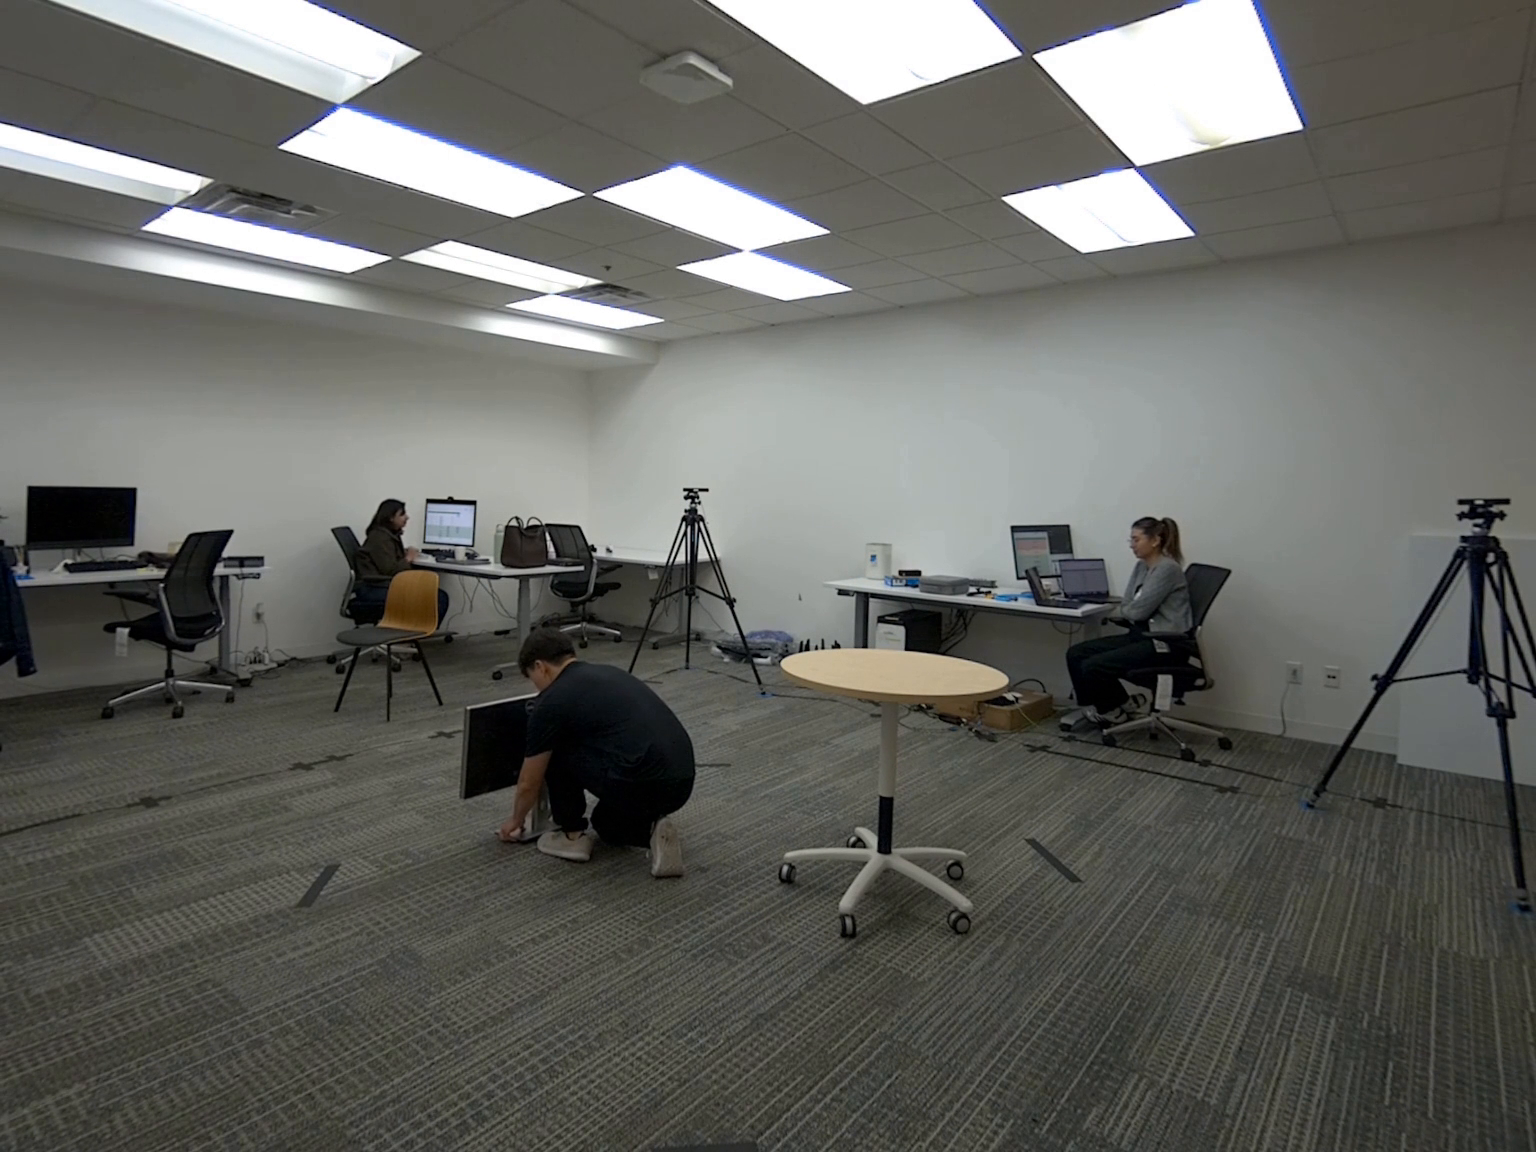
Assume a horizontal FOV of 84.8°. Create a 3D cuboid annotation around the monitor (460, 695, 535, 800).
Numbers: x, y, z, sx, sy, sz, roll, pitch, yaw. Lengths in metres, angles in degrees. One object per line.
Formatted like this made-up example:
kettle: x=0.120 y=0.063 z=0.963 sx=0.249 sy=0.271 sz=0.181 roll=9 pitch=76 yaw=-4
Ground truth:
monitor: x=-0.979 y=0.752 z=3.446 sx=0.192 sy=0.524 sz=0.523 roll=-7 pitch=-2 yaw=38
